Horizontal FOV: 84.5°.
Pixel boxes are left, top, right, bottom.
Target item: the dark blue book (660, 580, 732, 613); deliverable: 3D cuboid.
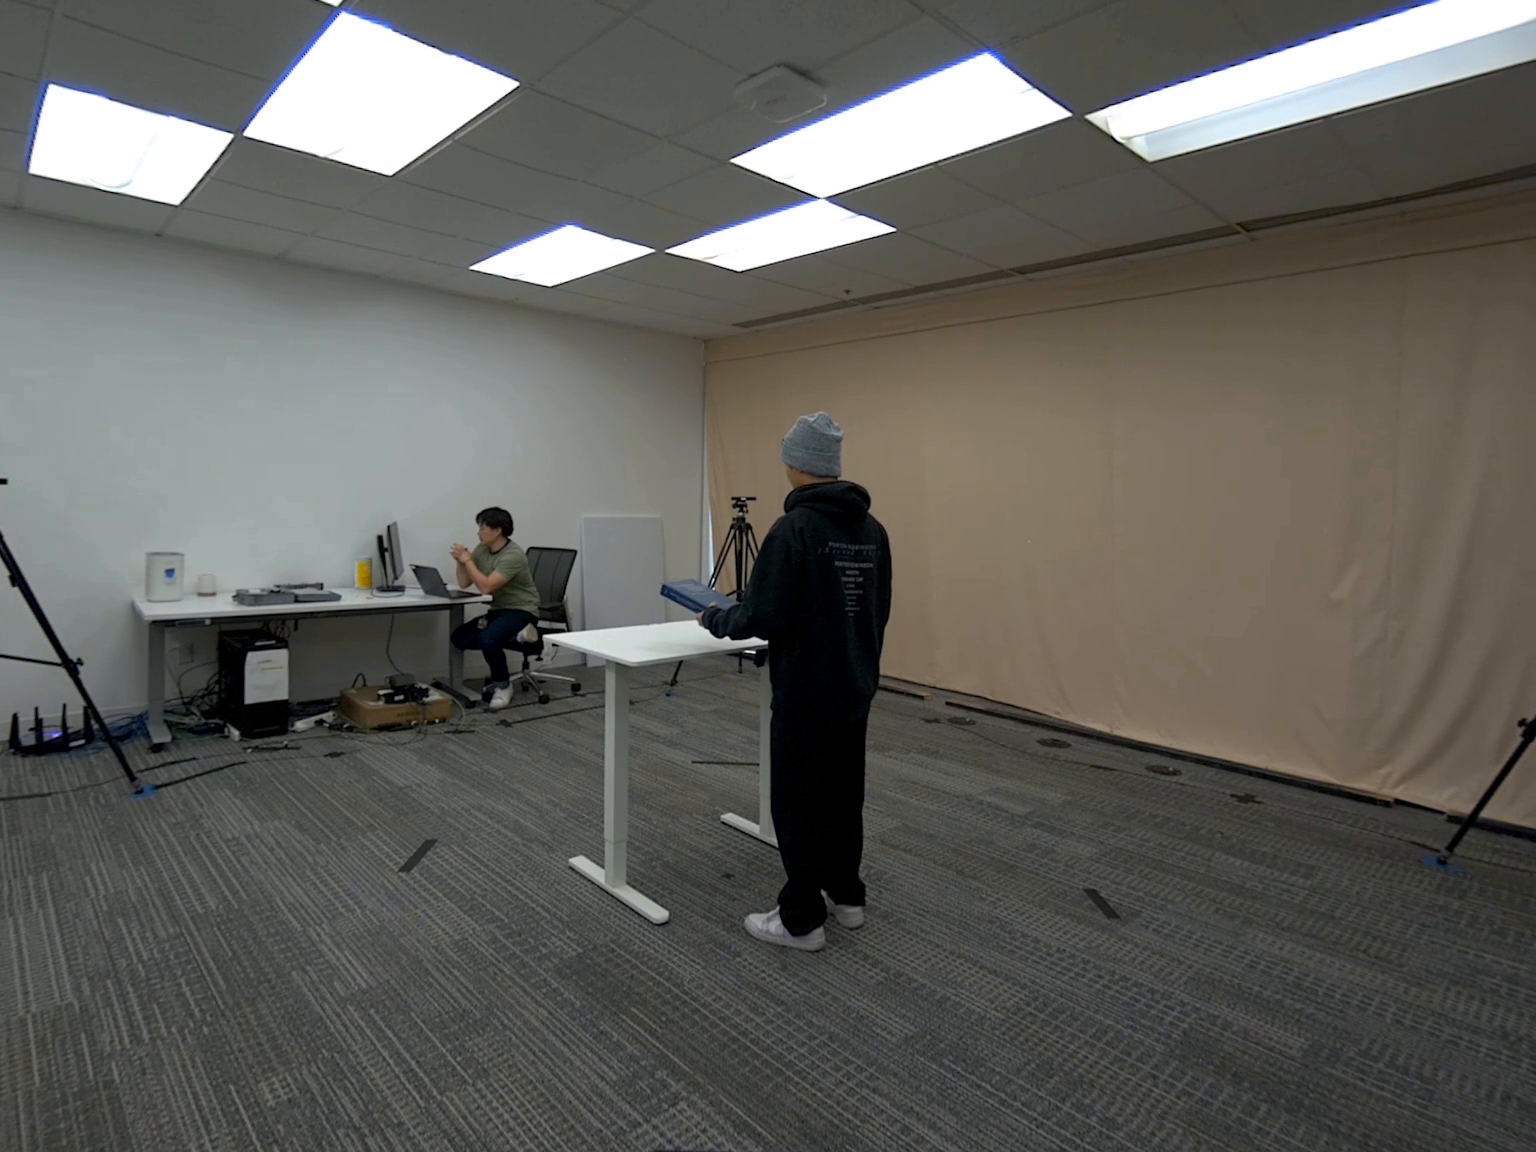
[{"bbox_3d":[-0.233,0.080,2.876,0.251,0.045,0.160,23,17,29],"label":"dark blue book"}]
